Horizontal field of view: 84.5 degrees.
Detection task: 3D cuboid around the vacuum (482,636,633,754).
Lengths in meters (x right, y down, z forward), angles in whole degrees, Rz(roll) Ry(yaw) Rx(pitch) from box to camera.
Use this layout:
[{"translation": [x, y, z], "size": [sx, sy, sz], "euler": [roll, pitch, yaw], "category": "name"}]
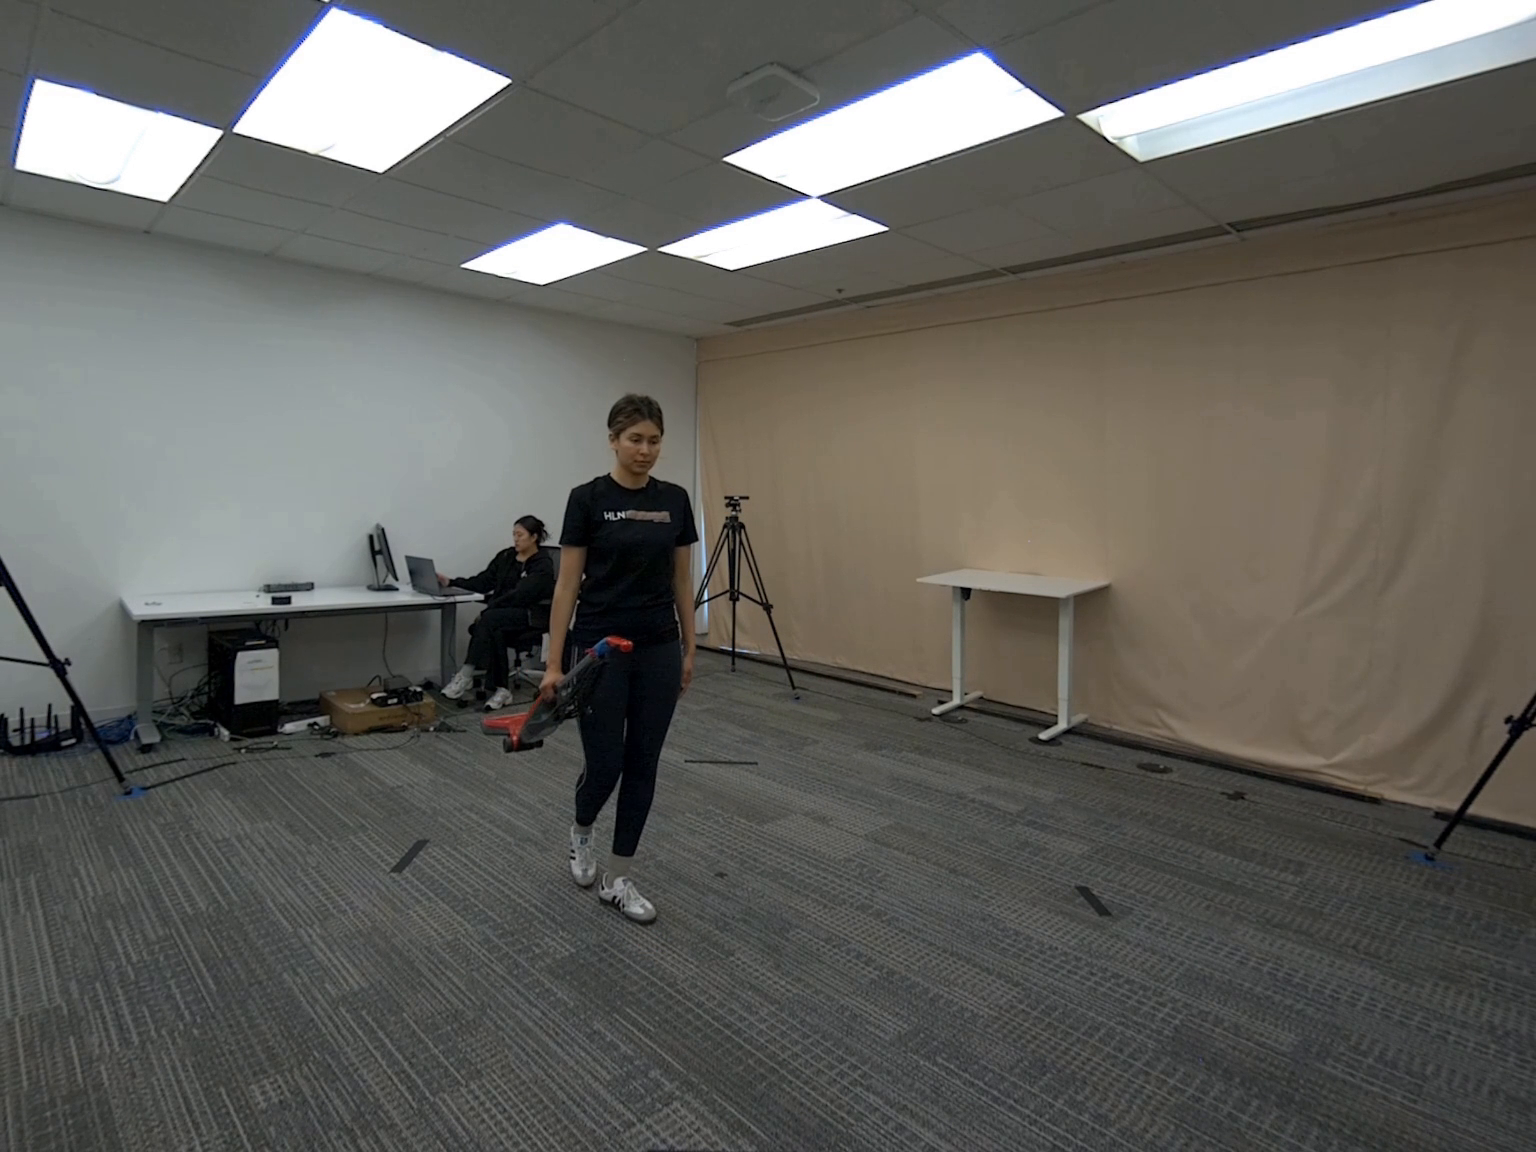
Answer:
[{"translation": [-0.647, 0.382, 2.595], "size": [0.247, 0.146, 1.053], "euler": [2, -22, -30], "category": "vacuum"}]
